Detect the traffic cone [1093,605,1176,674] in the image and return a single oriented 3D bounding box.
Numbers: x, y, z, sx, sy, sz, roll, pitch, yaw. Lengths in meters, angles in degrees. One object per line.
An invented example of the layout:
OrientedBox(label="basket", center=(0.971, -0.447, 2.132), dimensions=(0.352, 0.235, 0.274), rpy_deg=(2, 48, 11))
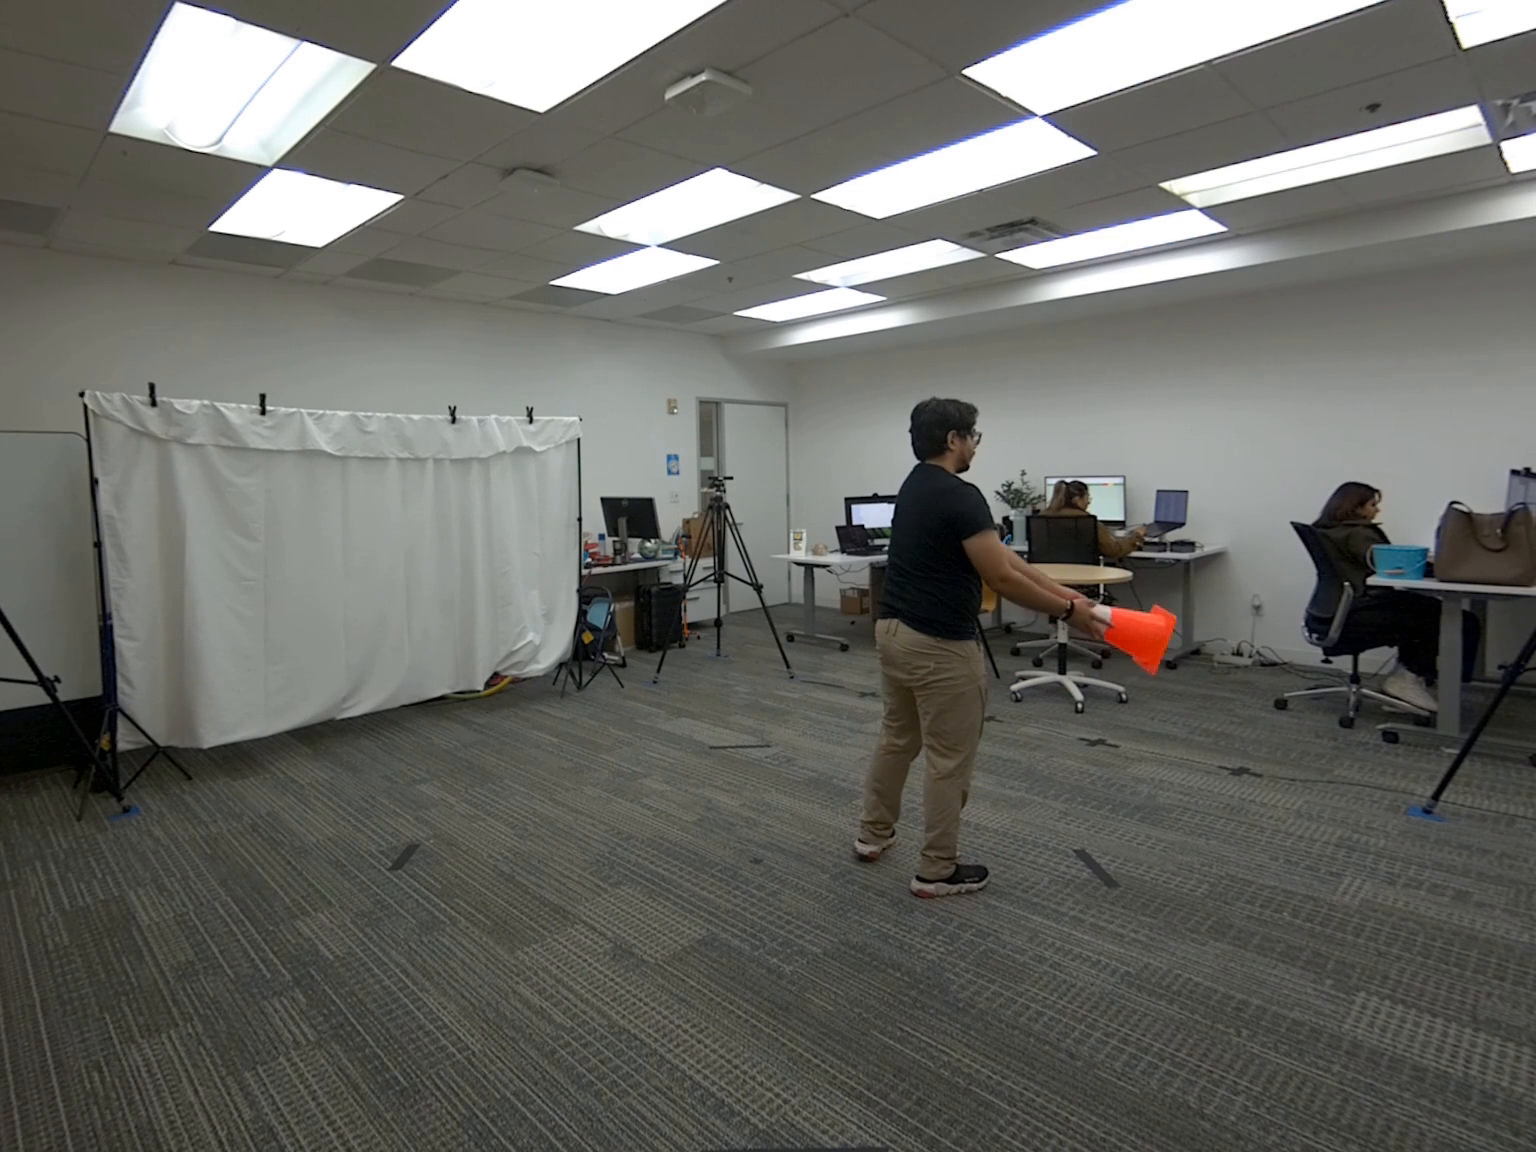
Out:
OrientedBox(label="traffic cone", center=(1.067, 0.144, 2.781), dimensions=(0.387, 0.204, 0.202), rpy_deg=(16, 7, 6))
